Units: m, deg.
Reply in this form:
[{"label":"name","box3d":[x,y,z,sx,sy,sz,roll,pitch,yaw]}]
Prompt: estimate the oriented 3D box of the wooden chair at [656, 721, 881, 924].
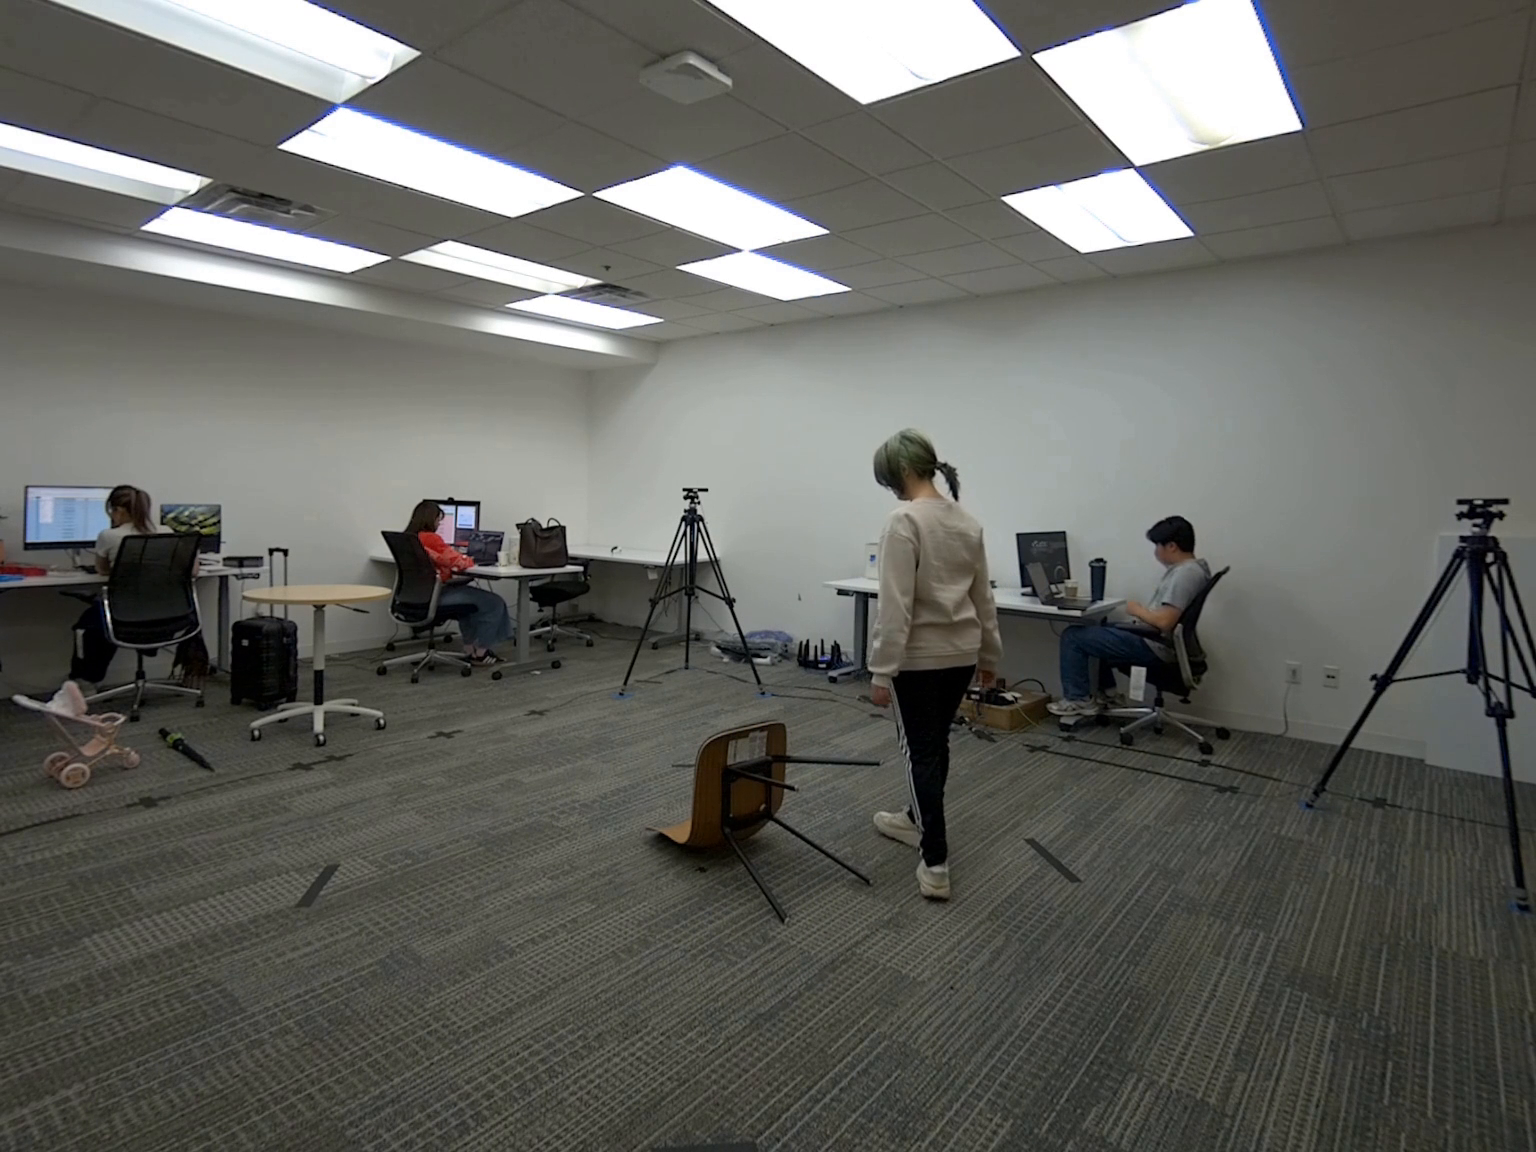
[{"label":"wooden chair","box3d":[-0.080,0.808,3.166,0.463,0.522,0.907,-1,4,-43]}]
